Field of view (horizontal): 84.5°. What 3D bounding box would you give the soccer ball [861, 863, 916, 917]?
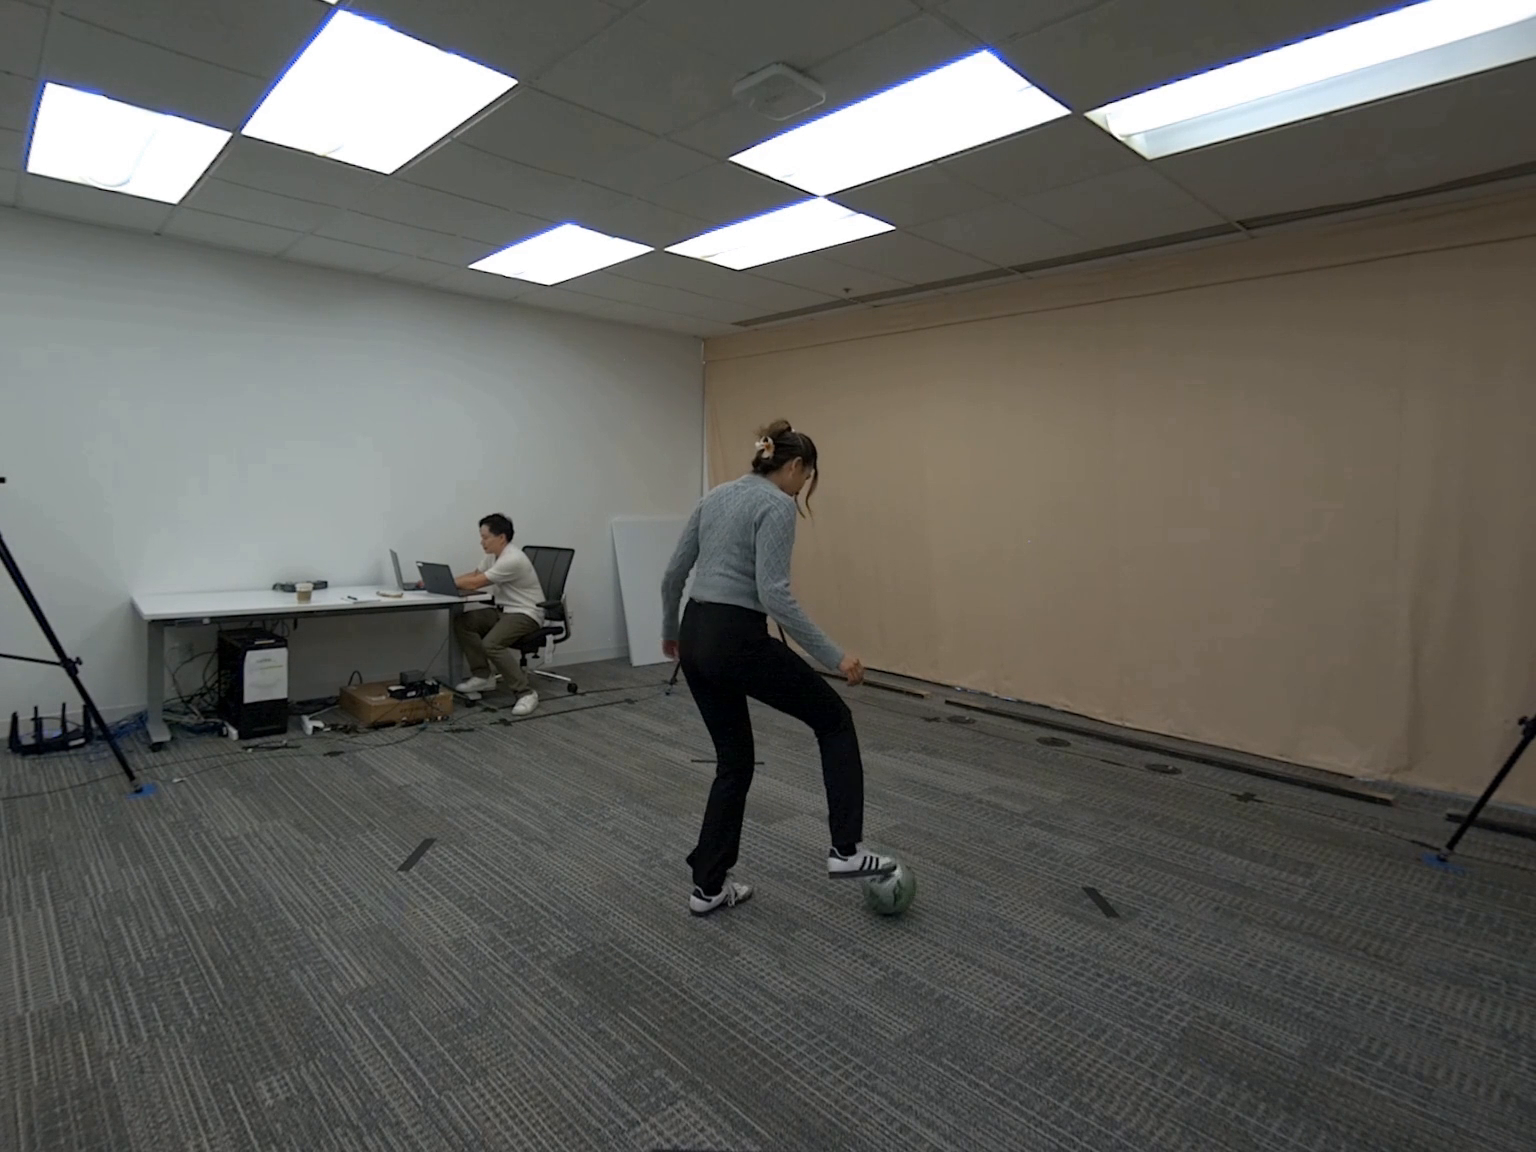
[{"bbox_3d":[0.404,1.042,2.883,0.187,0.187,0.188,1,4,-1],"label":"soccer ball"}]
